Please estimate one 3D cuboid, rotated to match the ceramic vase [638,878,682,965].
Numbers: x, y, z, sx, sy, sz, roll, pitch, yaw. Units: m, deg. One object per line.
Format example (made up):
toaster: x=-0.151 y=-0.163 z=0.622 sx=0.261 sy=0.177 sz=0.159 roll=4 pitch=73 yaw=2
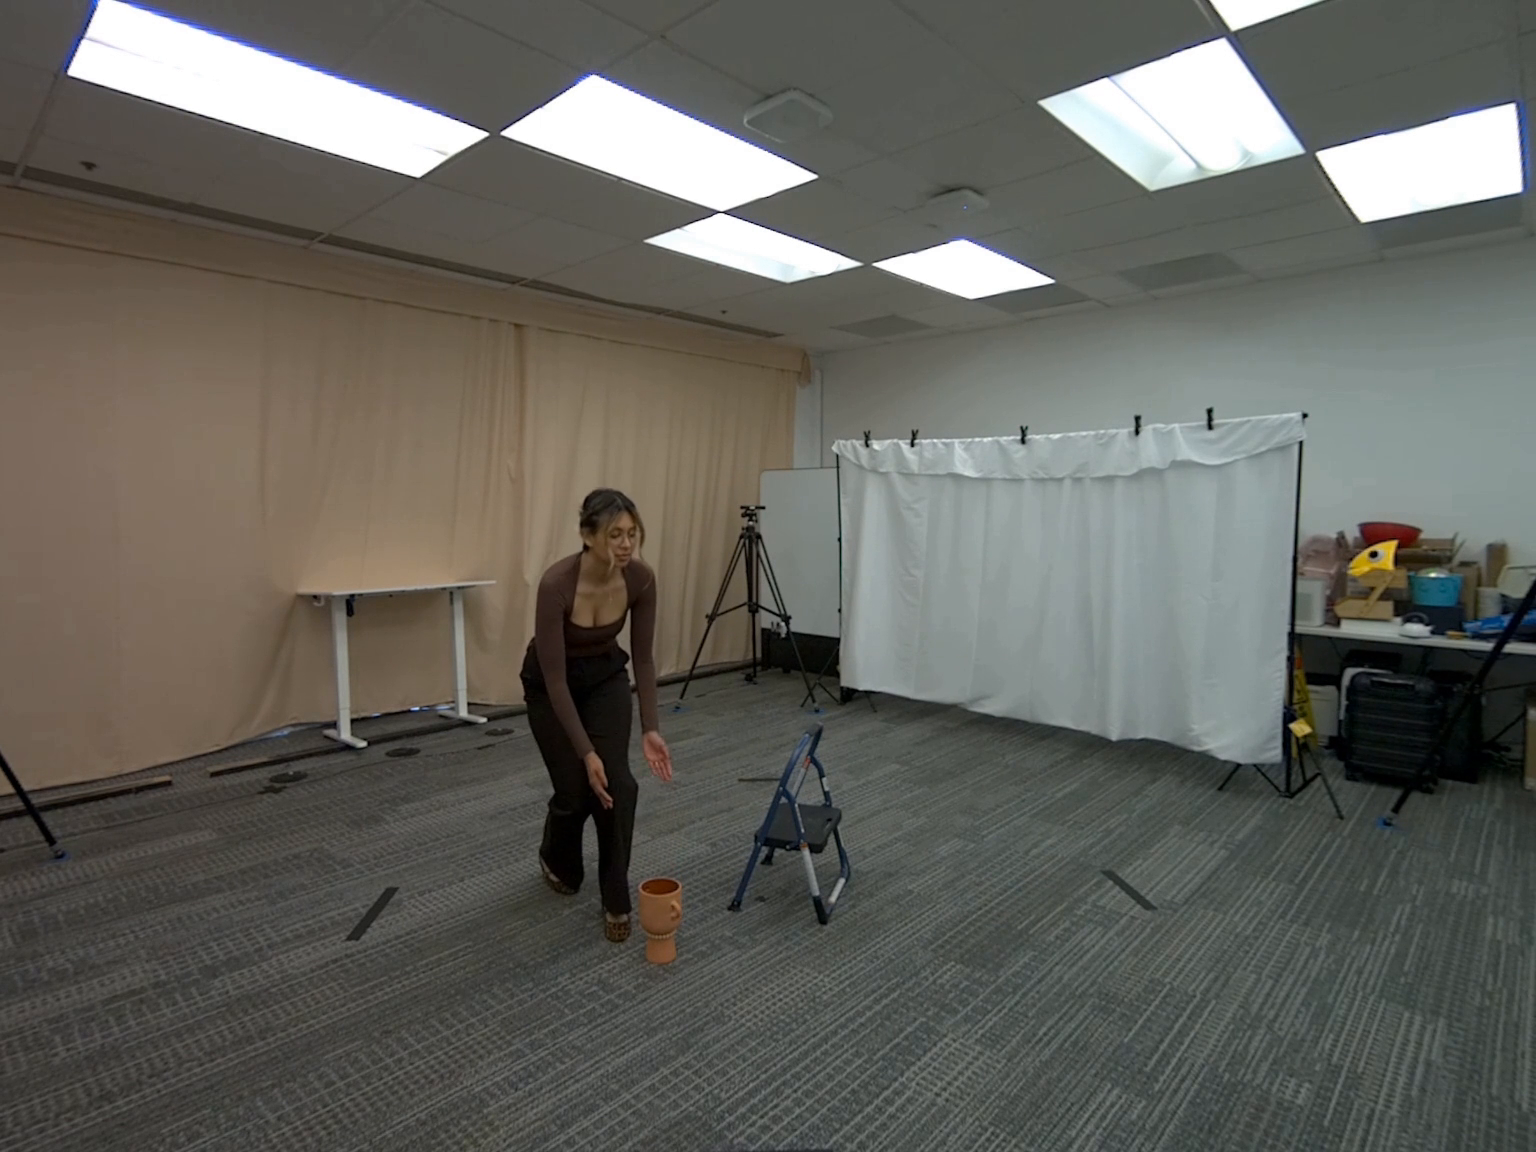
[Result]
ceramic vase: x=-0.332 y=1.065 z=2.597 sx=0.134 sy=0.219 sz=0.160 roll=-1 pitch=3 yaw=-5
